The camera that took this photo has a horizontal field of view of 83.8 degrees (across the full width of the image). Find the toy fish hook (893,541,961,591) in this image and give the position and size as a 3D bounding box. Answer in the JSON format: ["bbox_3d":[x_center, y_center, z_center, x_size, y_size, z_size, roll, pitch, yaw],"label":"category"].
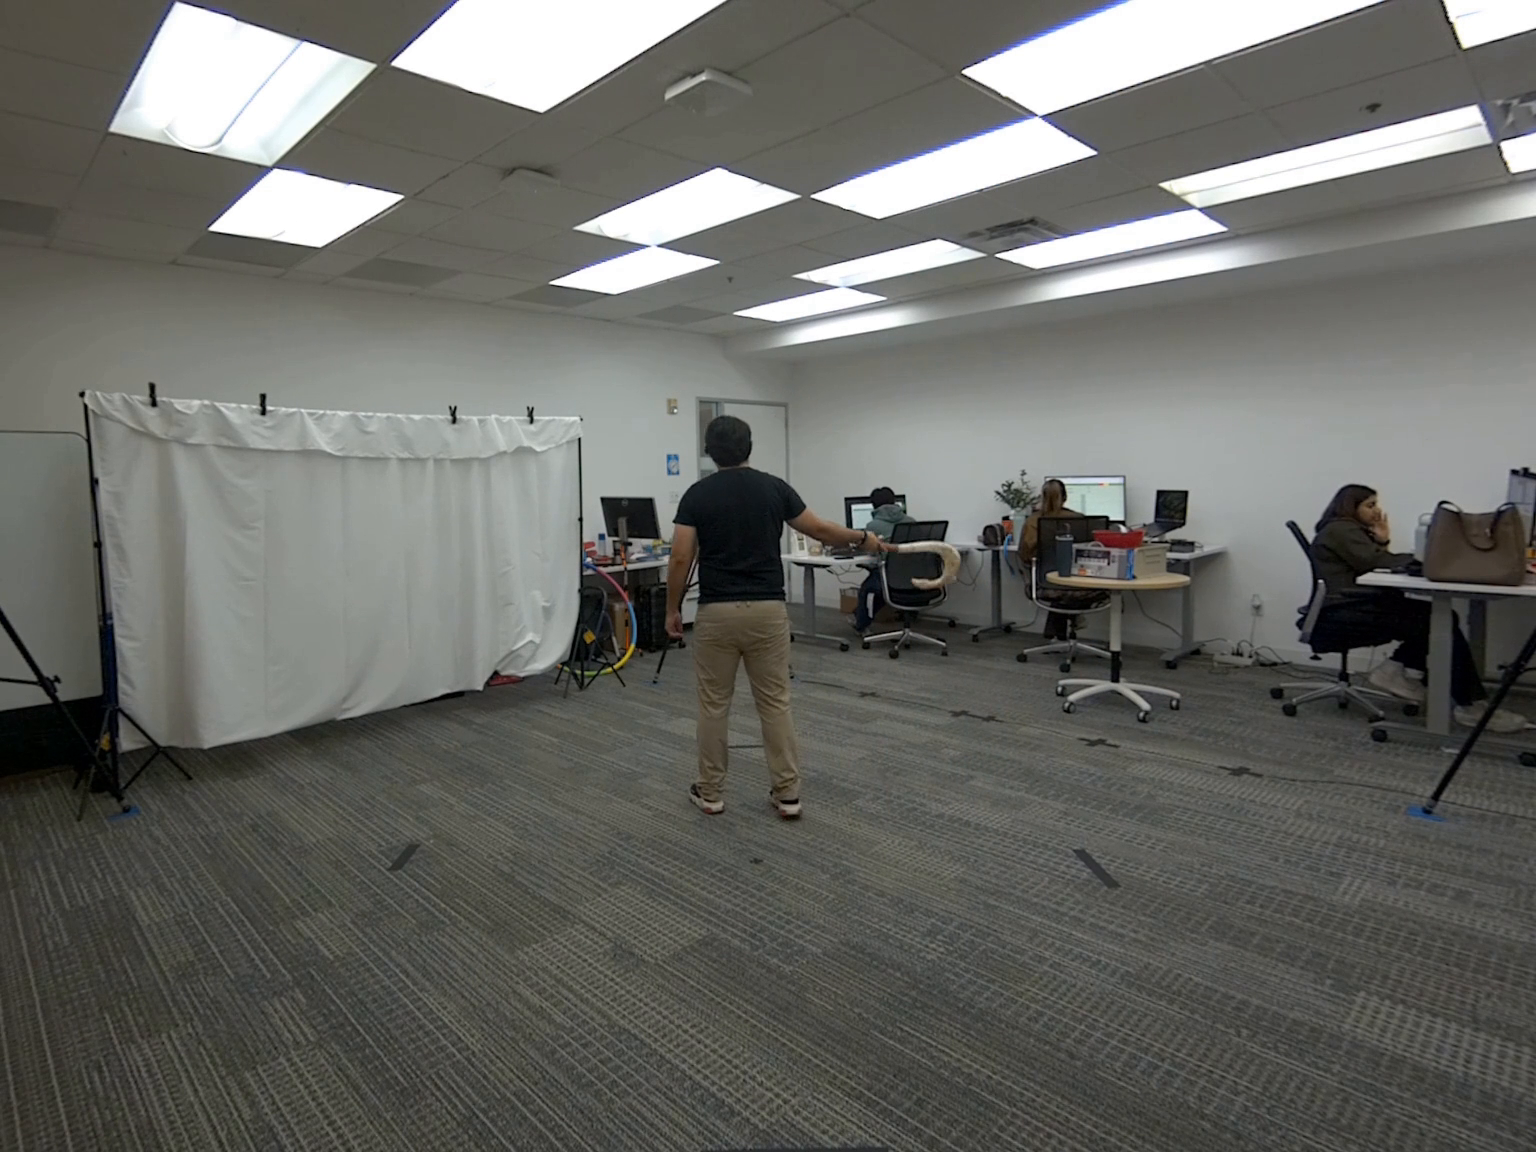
[{"bbox_3d":[0.610,-0.068,3.896,0.504,0.223,0.049,12,8,-4],"label":"toy fish hook"}]
